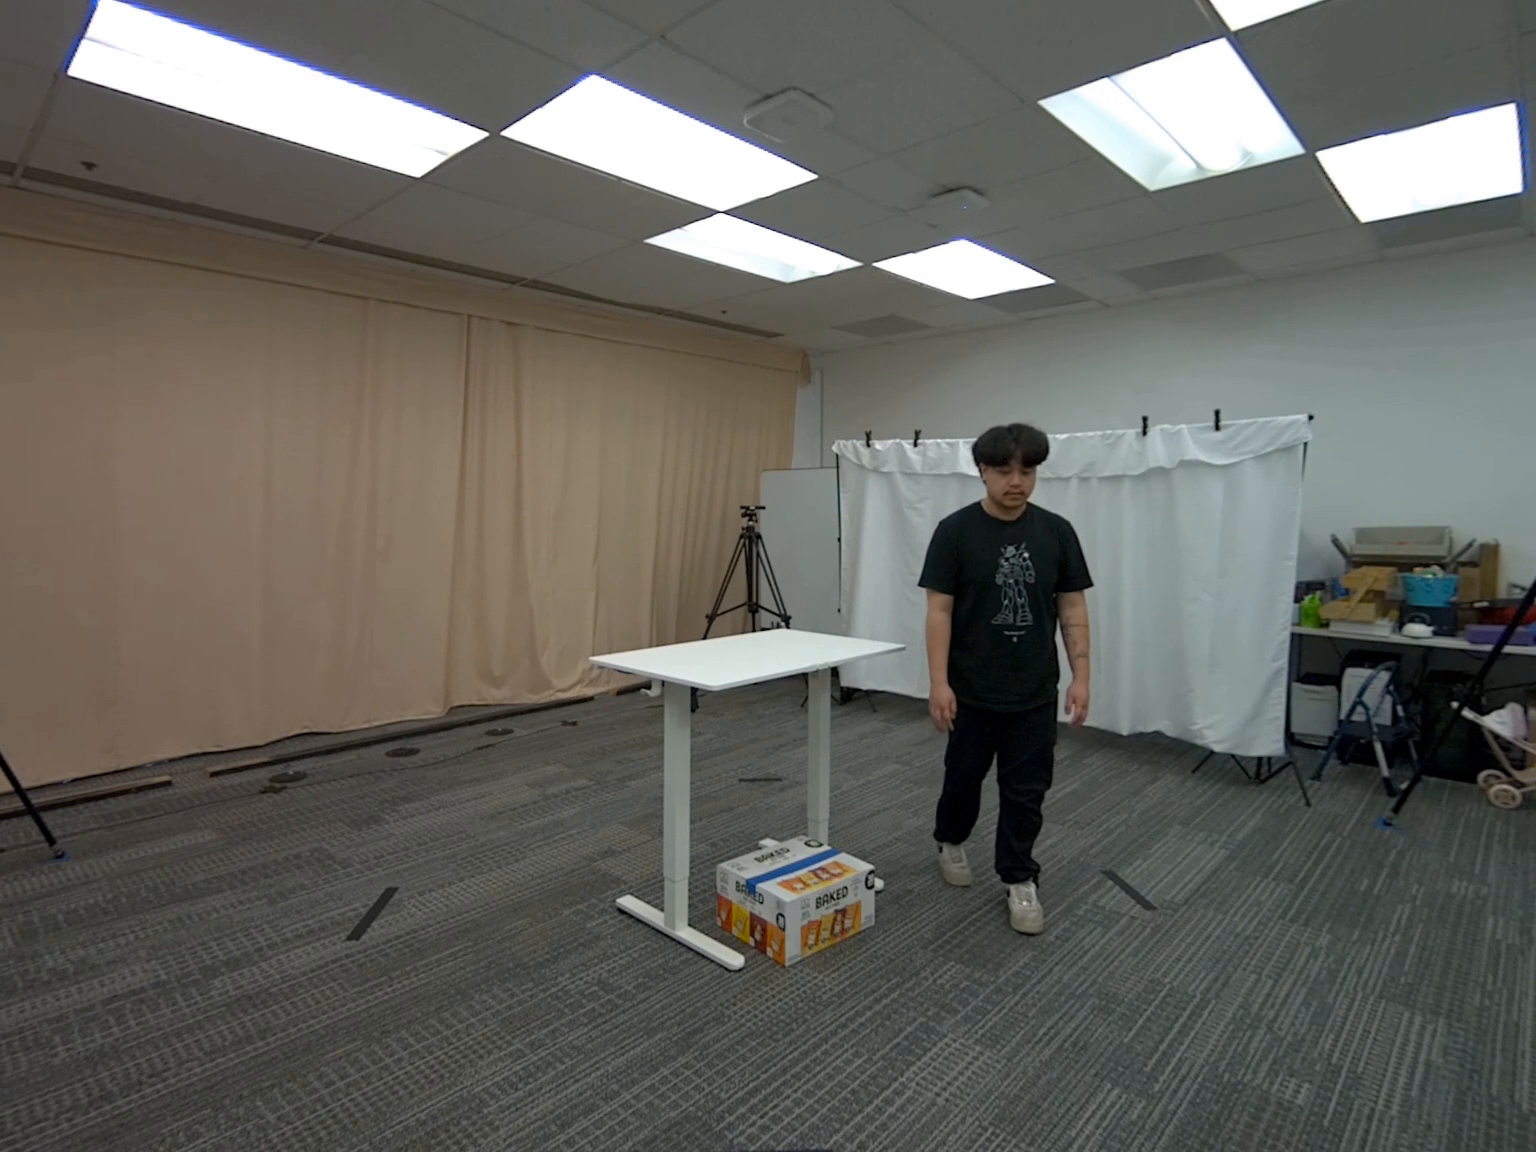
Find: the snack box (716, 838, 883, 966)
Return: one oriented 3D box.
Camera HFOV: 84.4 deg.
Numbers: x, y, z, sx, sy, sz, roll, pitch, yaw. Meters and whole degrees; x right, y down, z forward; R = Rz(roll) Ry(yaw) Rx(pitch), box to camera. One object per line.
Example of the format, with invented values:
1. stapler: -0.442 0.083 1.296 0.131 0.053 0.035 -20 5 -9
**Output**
1. snack box: 0.094 1.063 2.786 0.393 0.205 0.352 -4 6 -40
